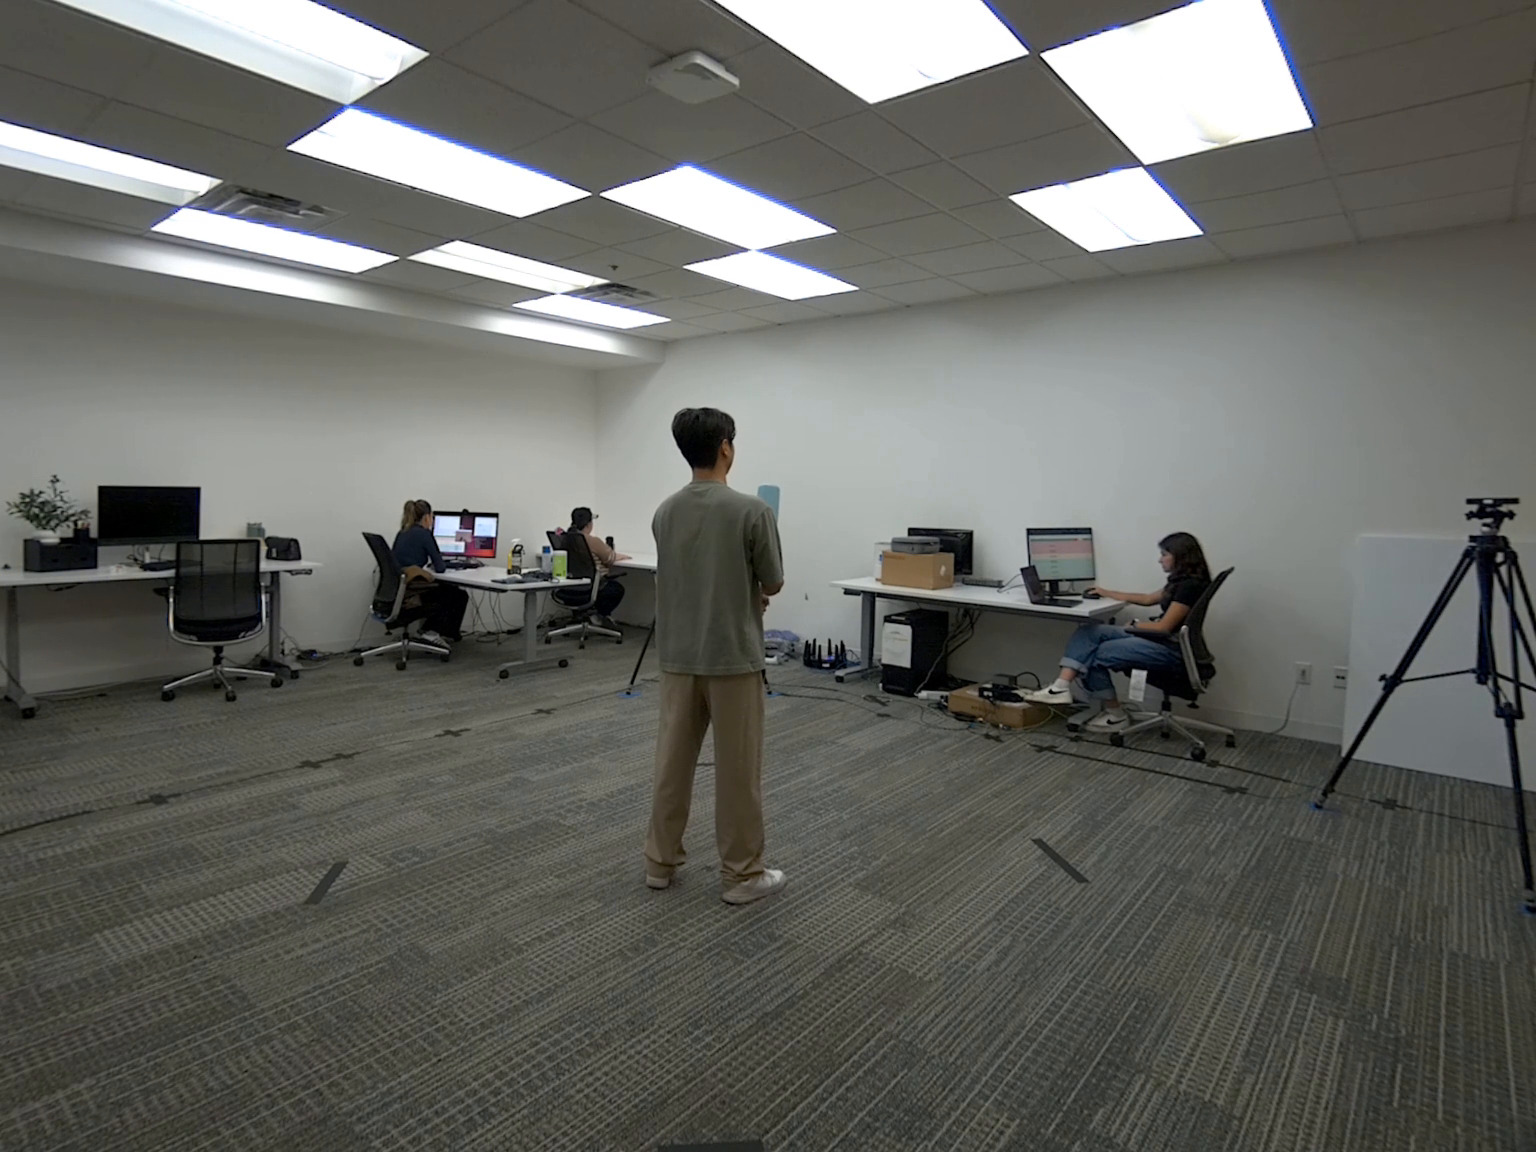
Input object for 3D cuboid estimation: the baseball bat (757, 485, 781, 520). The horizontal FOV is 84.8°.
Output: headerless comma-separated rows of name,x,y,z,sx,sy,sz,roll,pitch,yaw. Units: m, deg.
baseball bat,-0.016,-0.084,3.249,0.089,0.548,0.088,3,-10,-1
